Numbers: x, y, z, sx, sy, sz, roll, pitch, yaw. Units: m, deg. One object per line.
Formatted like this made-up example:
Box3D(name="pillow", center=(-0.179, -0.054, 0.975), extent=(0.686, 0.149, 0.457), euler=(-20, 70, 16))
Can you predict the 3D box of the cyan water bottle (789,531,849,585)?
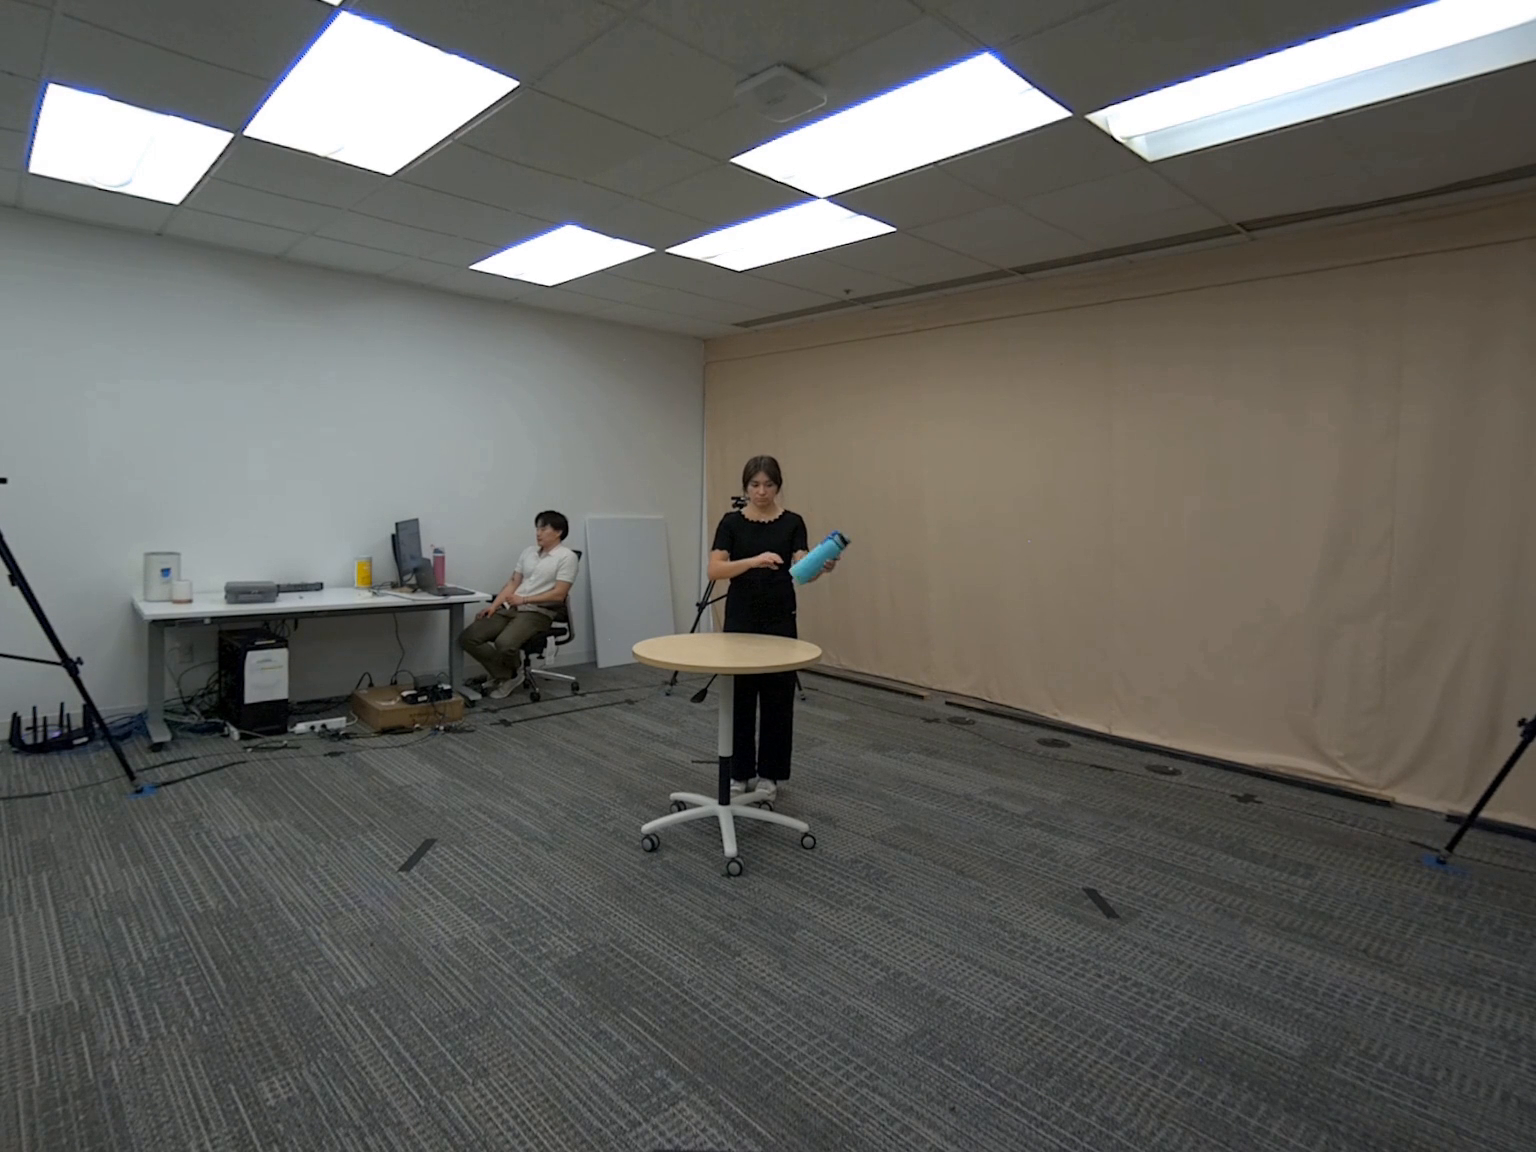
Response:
Box3D(name="cyan water bottle", center=(0.209, -0.073, 3.559), extent=(0.284, 0.093, 0.092), euler=(-41, -4, 11))
